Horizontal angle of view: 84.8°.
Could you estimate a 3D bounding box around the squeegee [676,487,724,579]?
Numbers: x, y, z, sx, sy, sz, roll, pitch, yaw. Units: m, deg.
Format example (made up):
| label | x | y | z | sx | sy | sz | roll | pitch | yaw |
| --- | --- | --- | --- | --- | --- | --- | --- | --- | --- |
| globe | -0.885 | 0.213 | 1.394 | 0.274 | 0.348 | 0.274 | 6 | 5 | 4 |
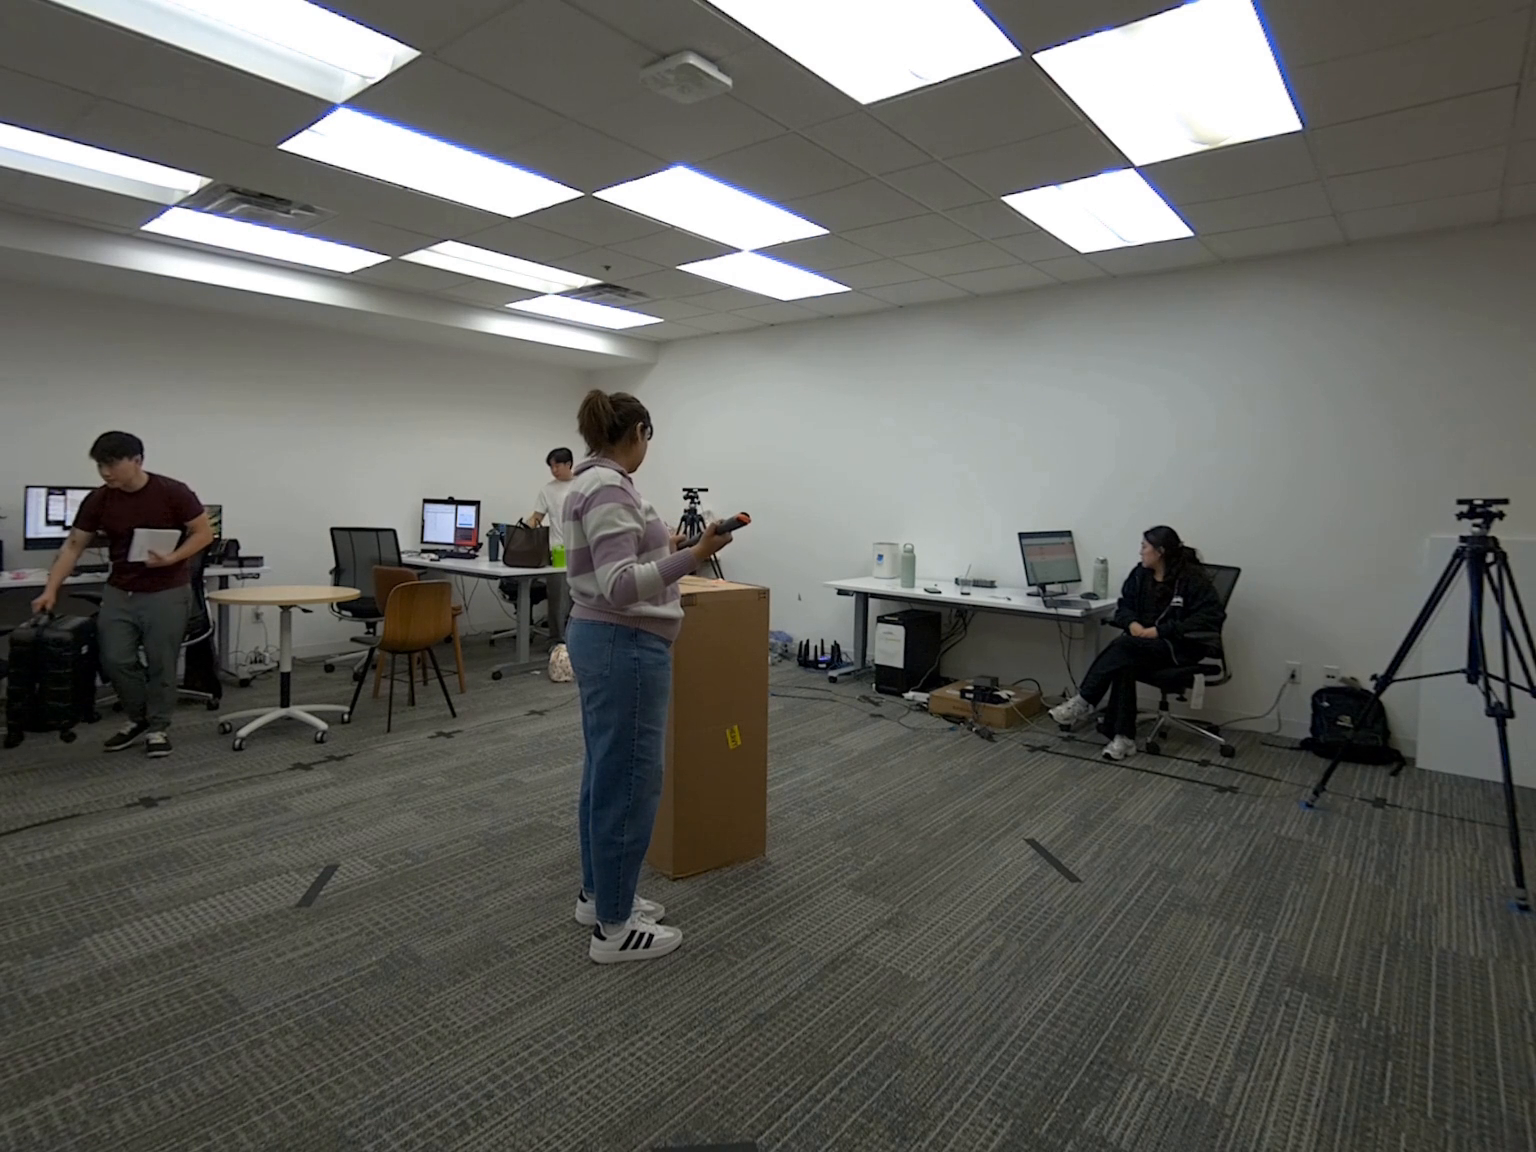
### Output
| label | x | y | z | sx | sy | sz | roll | pitch | yaw |
| --- | --- | --- | --- | --- | --- | --- | --- | --- | --- |
| squeegee | -0.254 | -0.115 | 2.733 | 0.432 | 0.053 | 1.548 | -5 | -2 | -13 |
